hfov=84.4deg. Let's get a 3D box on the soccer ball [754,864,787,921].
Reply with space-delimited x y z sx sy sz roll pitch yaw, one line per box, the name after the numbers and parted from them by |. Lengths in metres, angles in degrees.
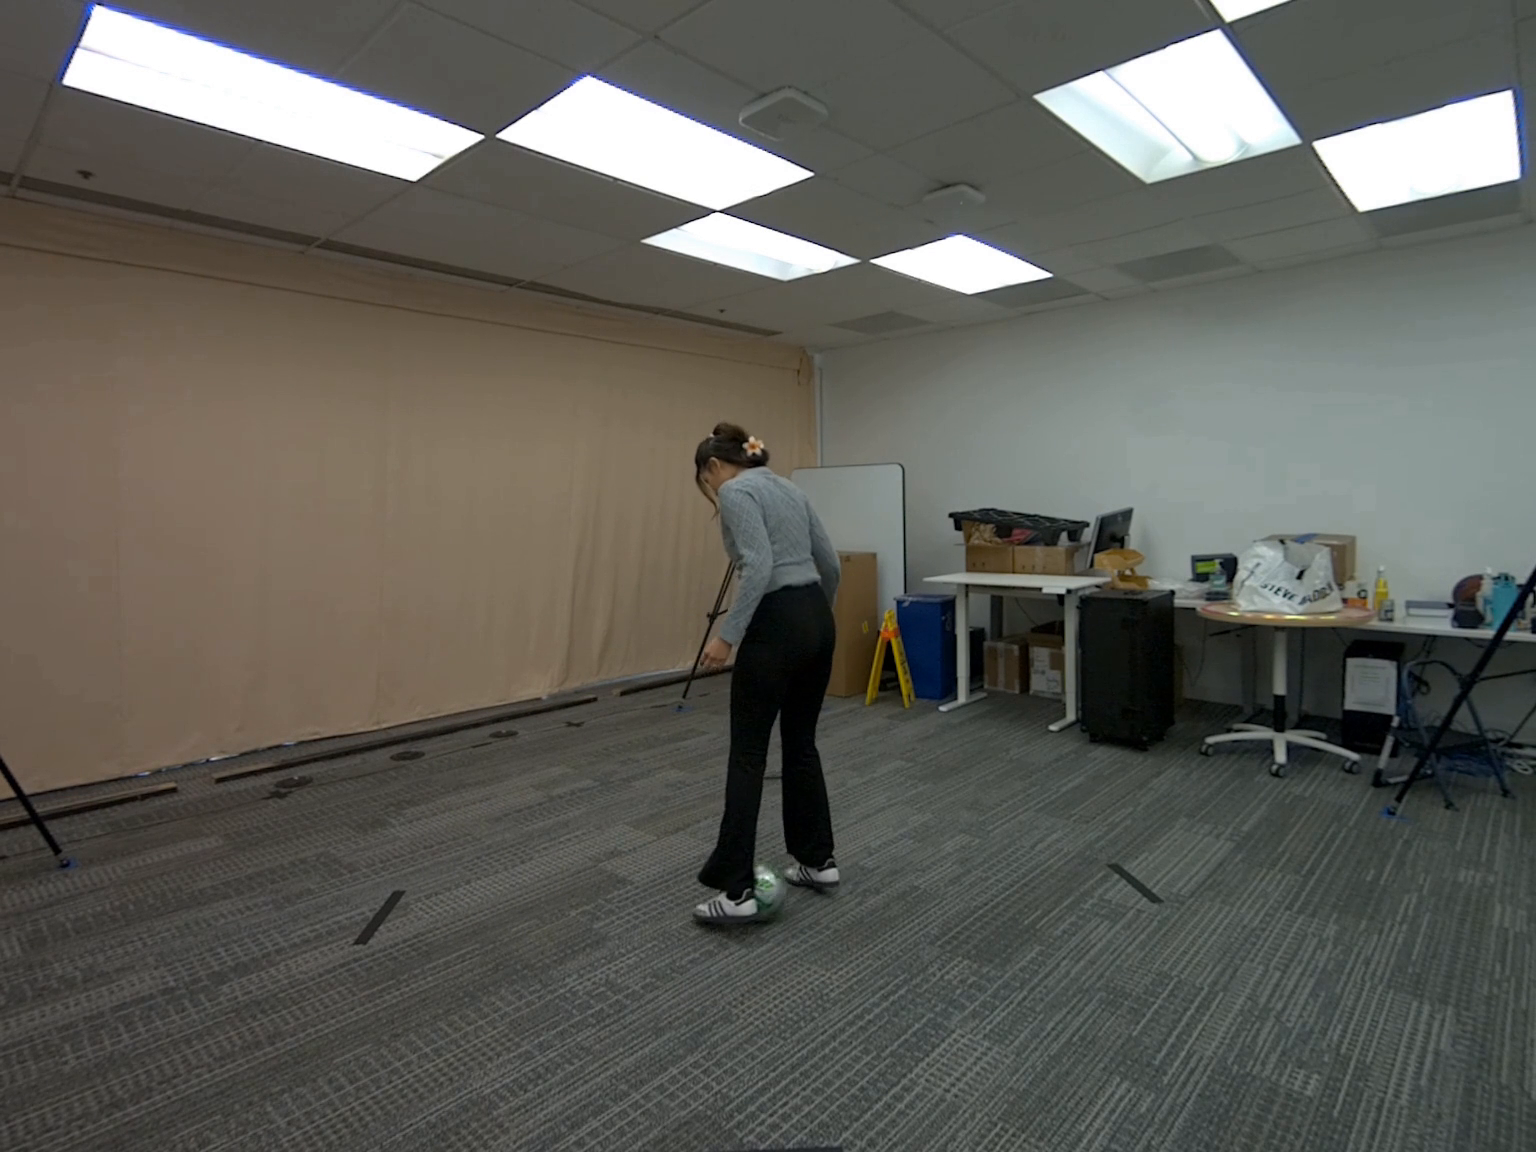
-0.014 1.060 2.847 0.187 0.187 0.188 -1 4 -2 | soccer ball
